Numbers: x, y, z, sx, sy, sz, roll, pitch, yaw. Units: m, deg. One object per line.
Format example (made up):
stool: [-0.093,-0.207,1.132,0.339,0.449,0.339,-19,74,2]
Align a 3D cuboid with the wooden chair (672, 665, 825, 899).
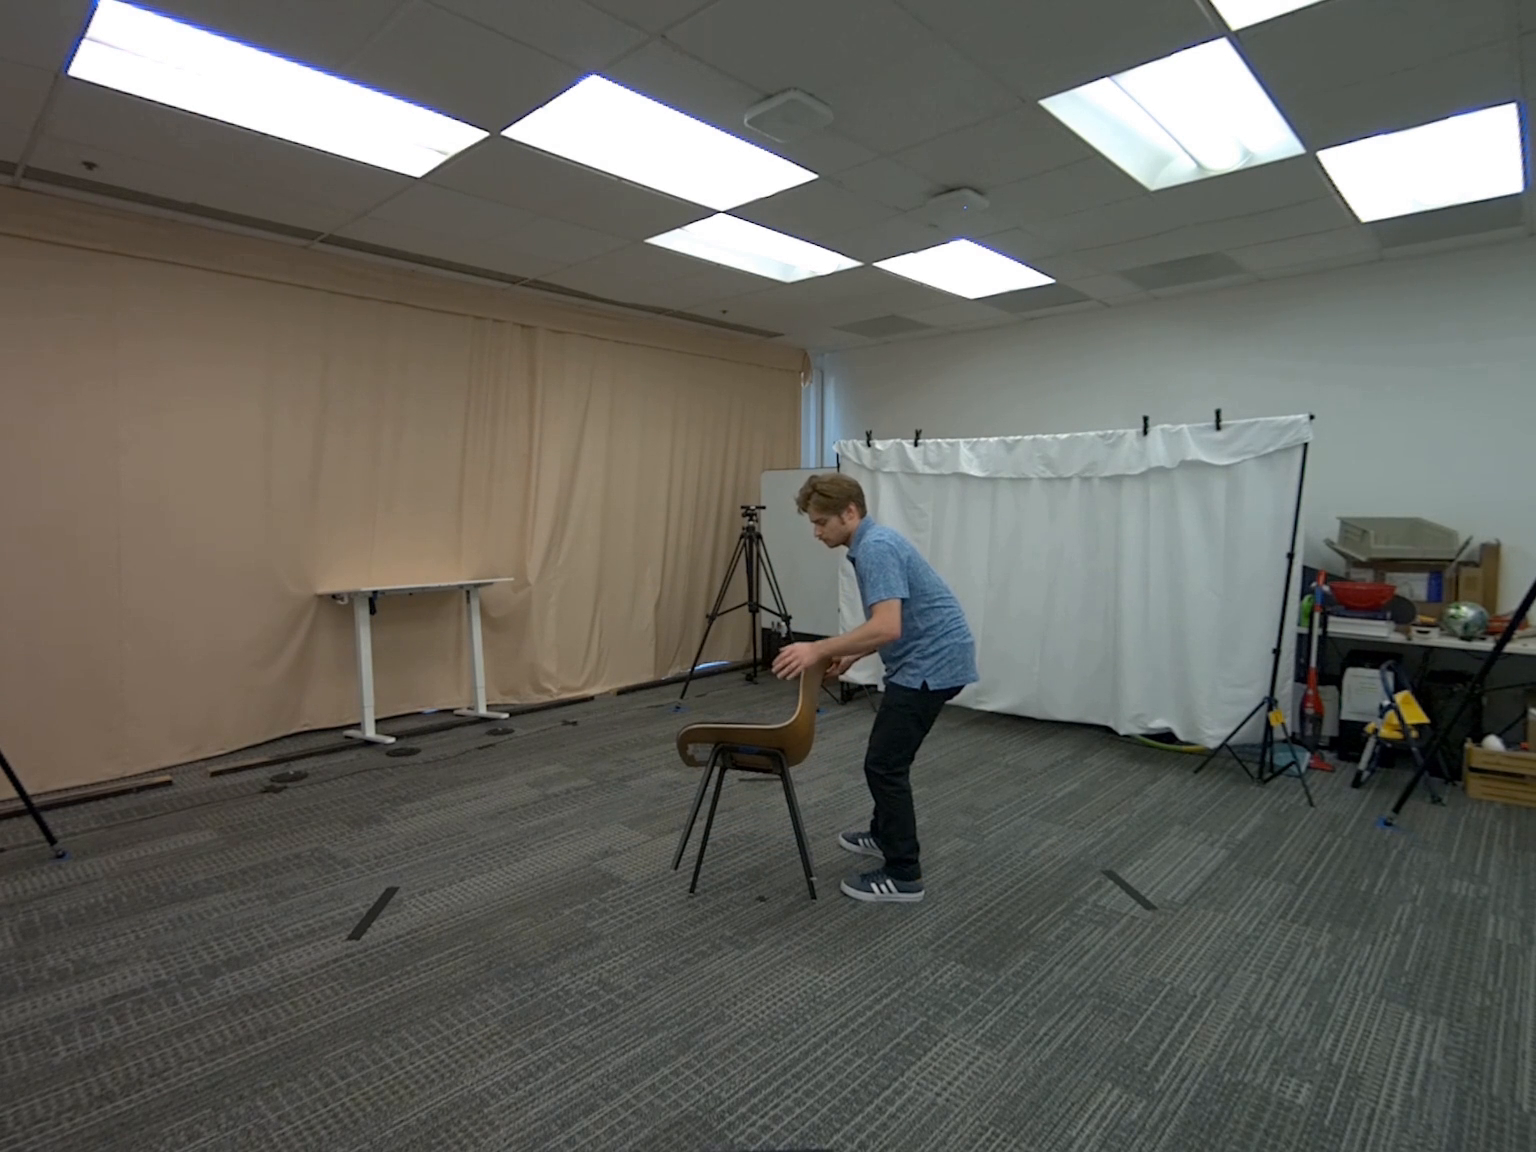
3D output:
wooden chair: [-0.056,0.671,3.016,0.528,0.888,0.468,3,-29,8]
